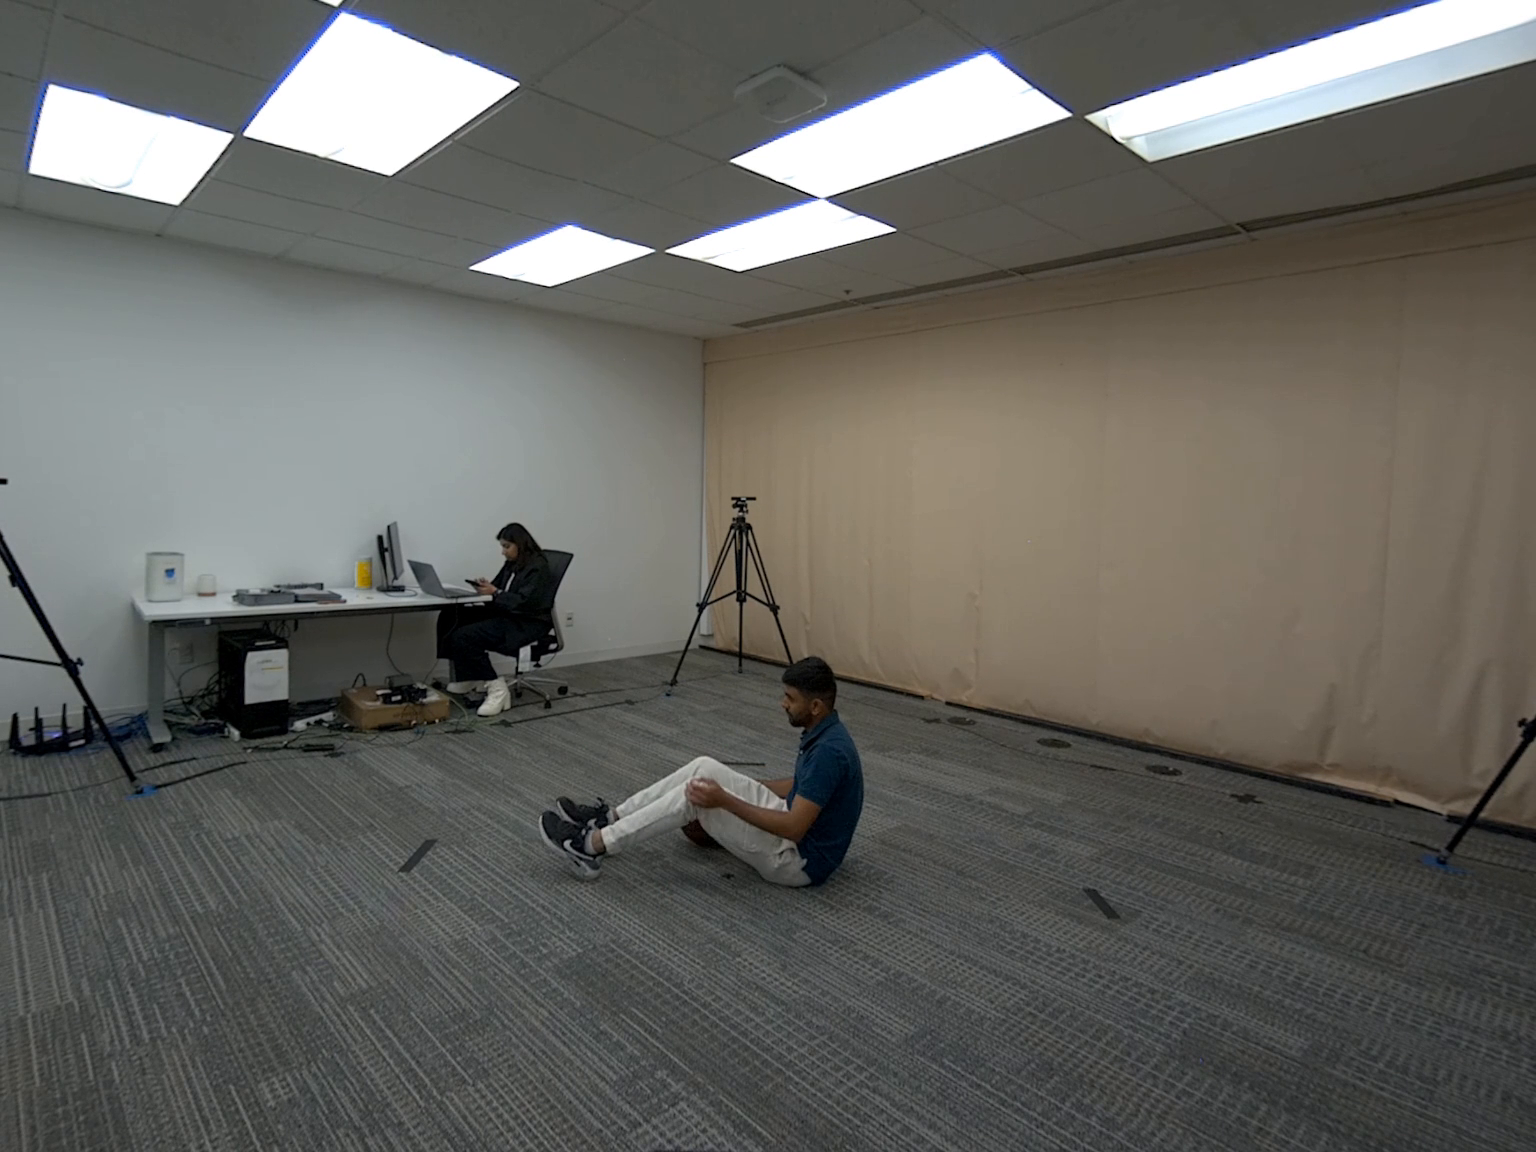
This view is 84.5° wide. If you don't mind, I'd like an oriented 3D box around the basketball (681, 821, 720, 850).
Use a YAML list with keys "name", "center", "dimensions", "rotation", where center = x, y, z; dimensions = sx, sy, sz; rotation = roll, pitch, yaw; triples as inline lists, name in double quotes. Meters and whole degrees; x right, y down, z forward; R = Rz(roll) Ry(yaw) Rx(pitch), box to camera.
- name: "basketball"
  center: [-0.242, 0.957, 3.385]
  dimensions: [0.236, 0.235, 0.237]
  rotation: [1, 4, -1]
